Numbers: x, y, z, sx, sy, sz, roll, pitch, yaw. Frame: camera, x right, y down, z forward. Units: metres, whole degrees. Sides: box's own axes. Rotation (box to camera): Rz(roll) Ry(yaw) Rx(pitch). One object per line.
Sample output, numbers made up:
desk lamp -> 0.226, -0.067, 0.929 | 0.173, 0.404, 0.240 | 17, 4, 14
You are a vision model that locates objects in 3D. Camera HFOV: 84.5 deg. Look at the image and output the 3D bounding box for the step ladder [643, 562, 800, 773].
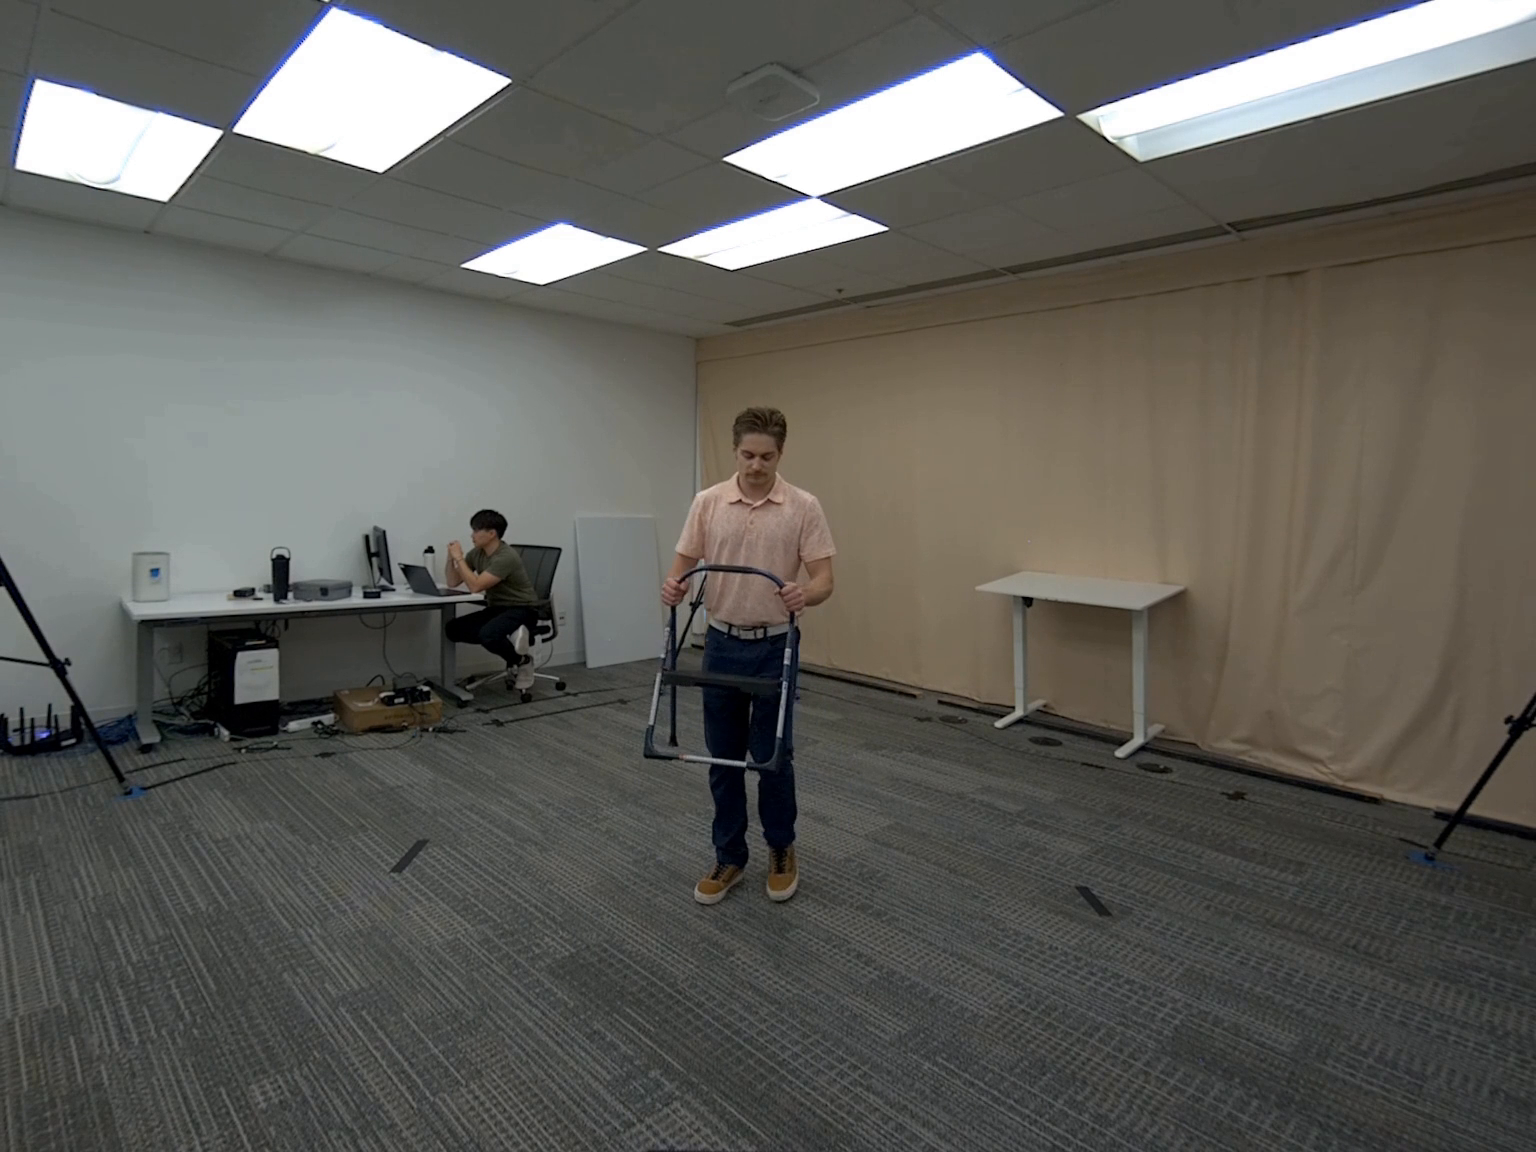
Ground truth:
step ladder -> -0.125, 0.285, 2.683 | 0.435, 0.608, 0.345 | 5, -5, 10
